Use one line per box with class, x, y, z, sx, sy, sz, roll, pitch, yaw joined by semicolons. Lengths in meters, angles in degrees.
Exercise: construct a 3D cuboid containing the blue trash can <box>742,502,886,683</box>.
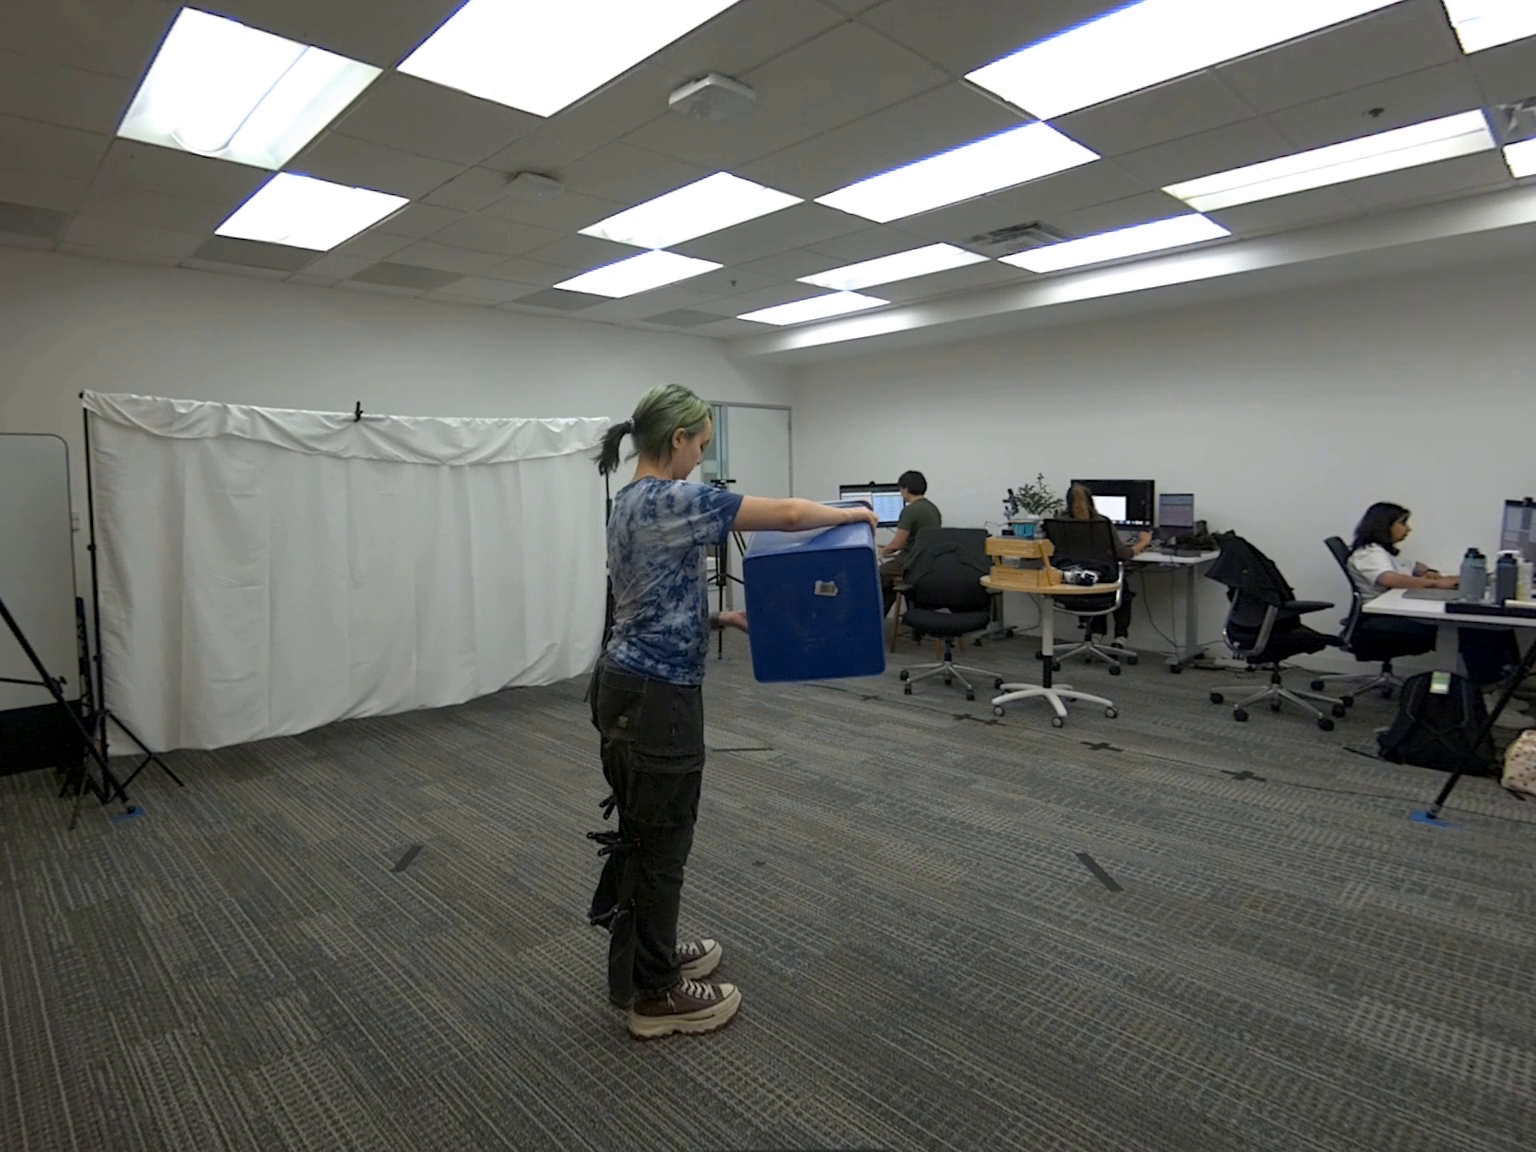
blue trash can;0.141;0.010;2.293;0.380;0.372;0.714;-6;7;5
